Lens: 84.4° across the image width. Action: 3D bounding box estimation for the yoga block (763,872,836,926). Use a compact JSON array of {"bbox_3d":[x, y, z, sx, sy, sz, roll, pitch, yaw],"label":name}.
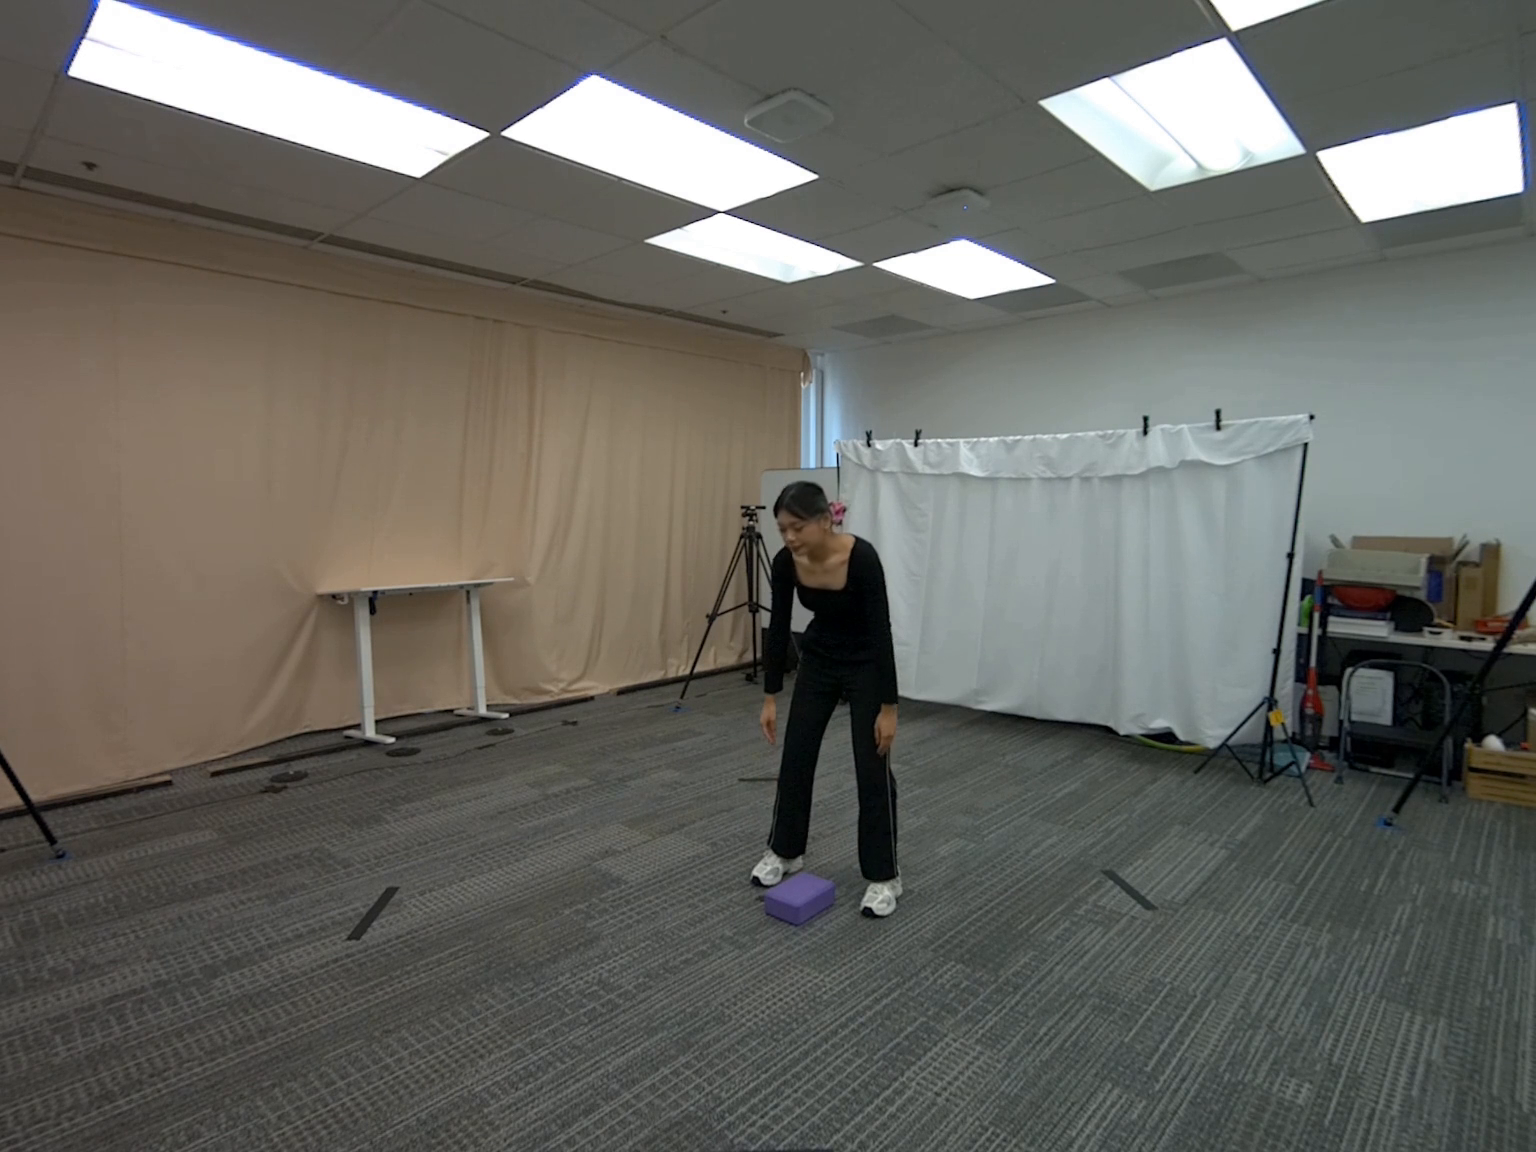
[{"bbox_3d":[0.112,1.109,2.908,0.154,0.076,0.222,5,7,38],"label":"yoga block"}]
